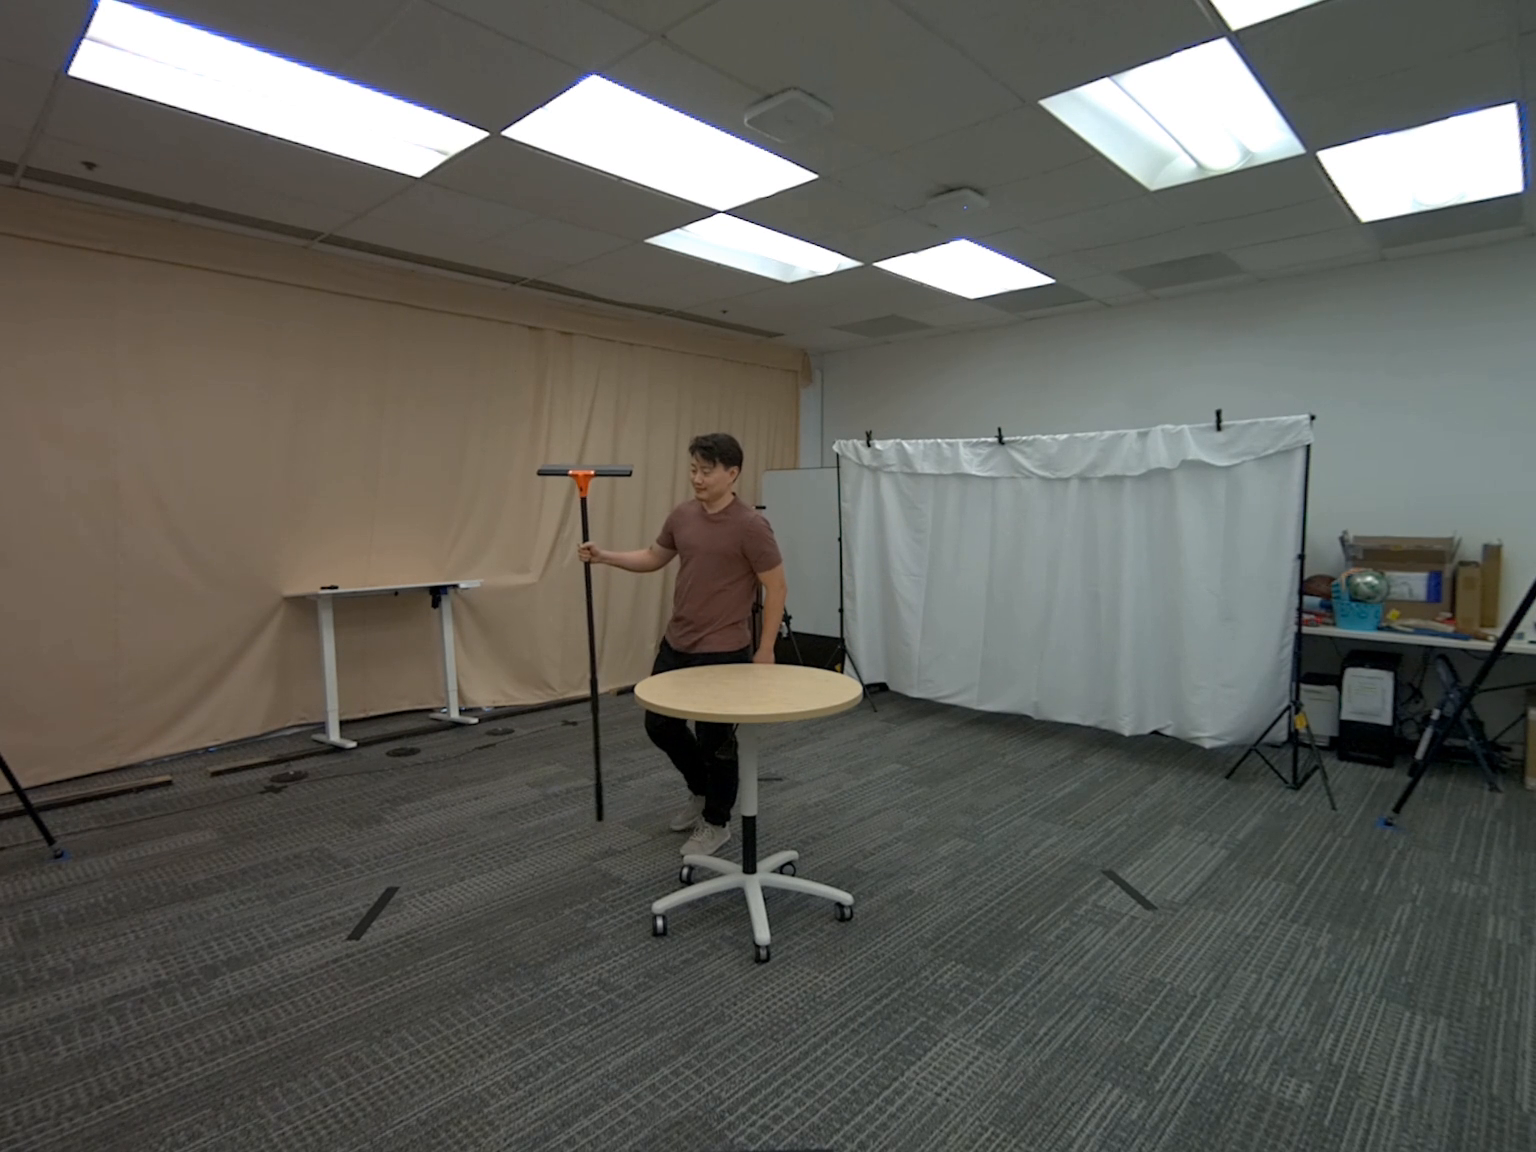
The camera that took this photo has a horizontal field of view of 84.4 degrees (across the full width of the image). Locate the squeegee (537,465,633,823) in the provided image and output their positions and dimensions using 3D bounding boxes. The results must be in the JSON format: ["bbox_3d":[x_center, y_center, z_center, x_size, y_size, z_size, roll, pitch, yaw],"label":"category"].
[{"bbox_3d":[-0.735,0.325,3.495,0.450,1.528,0.052,4,10,28],"label":"squeegee"}]
